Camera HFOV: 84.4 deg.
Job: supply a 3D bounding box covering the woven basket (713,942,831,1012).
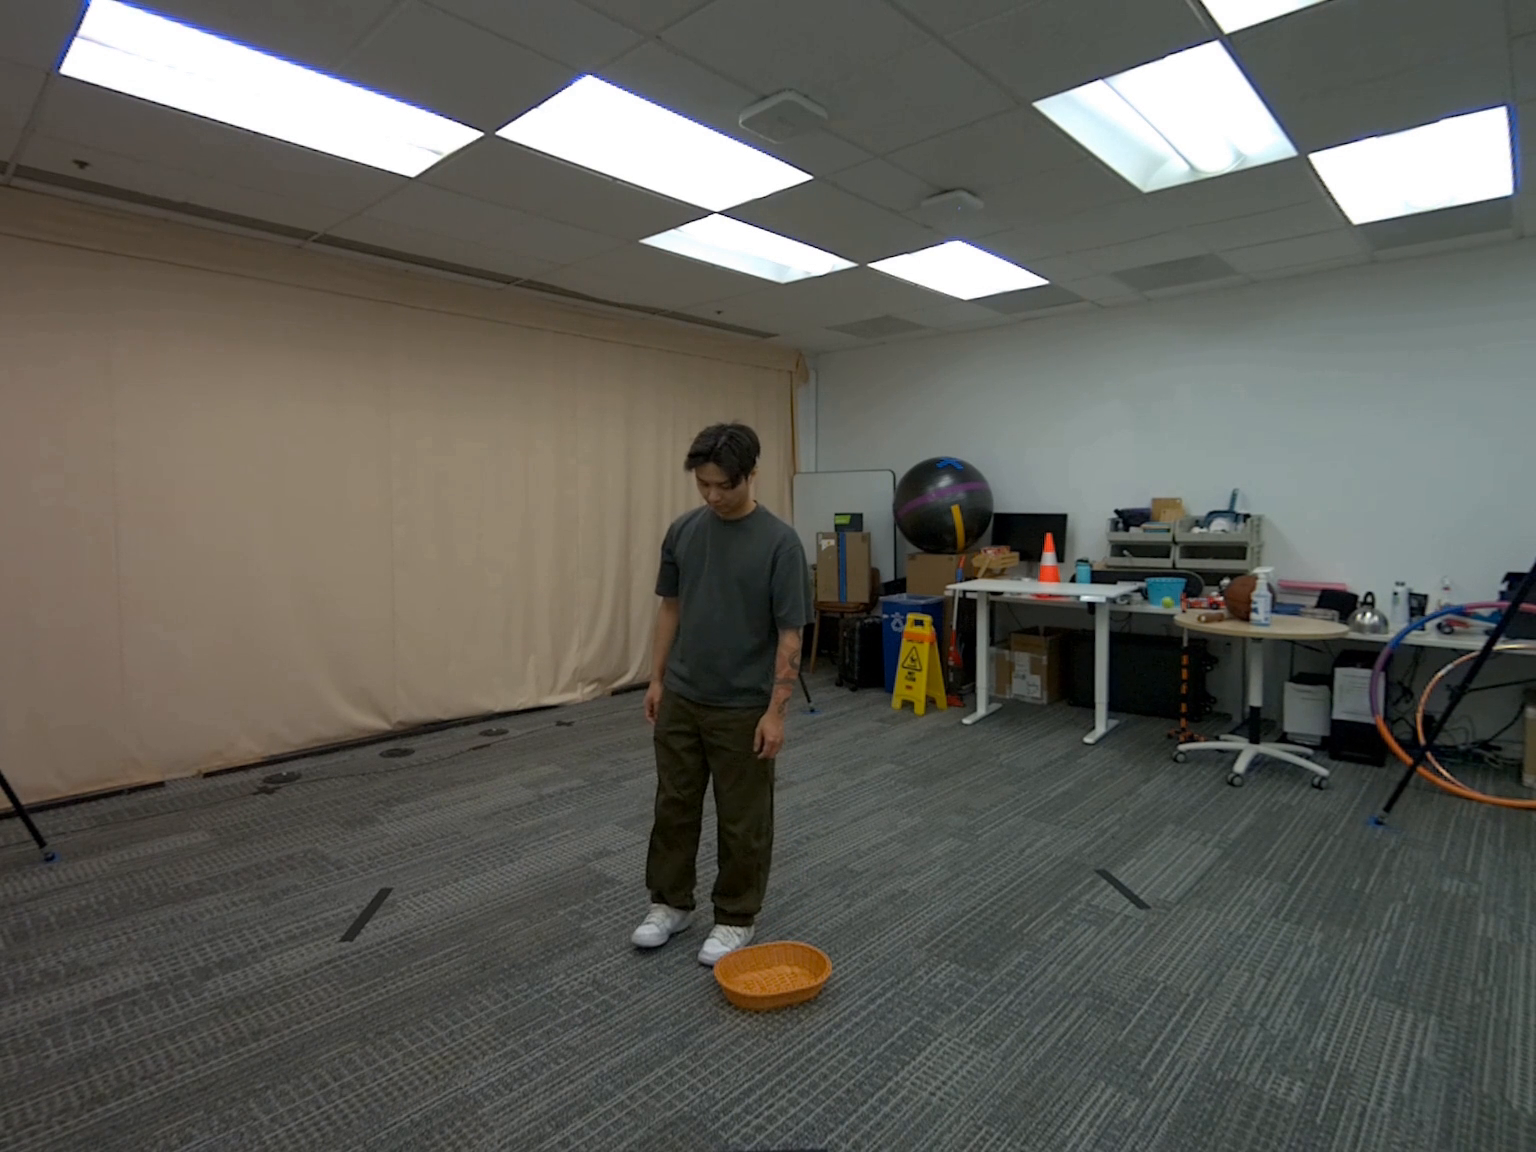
[{"bbox_3d":[0.016,1.152,2.421,0.345,0.073,0.257,0,4,-16],"label":"woven basket"}]
